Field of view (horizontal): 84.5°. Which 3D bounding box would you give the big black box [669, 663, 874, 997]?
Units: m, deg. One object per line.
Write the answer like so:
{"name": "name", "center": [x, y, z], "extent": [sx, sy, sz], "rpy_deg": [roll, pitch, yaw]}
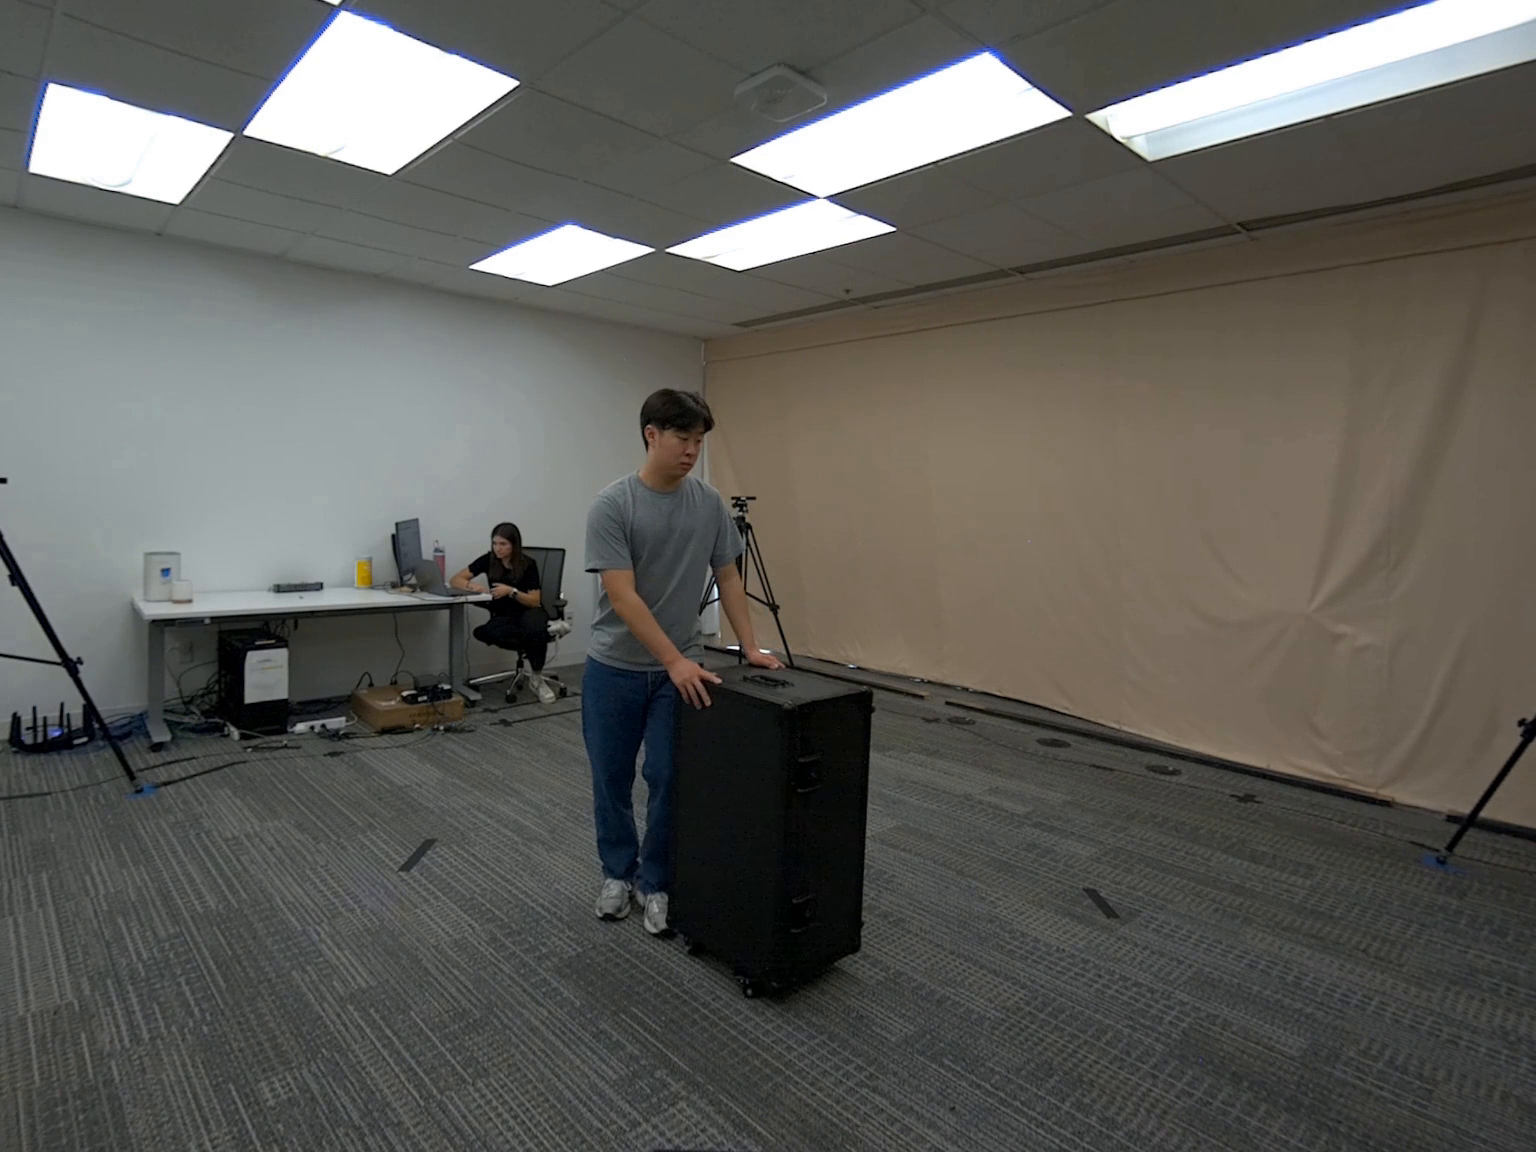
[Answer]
{"name": "big black box", "center": [0.001, 0.742, 2.524], "extent": [0.387, 0.860, 0.535], "rpy_deg": [0, 4, -44]}
